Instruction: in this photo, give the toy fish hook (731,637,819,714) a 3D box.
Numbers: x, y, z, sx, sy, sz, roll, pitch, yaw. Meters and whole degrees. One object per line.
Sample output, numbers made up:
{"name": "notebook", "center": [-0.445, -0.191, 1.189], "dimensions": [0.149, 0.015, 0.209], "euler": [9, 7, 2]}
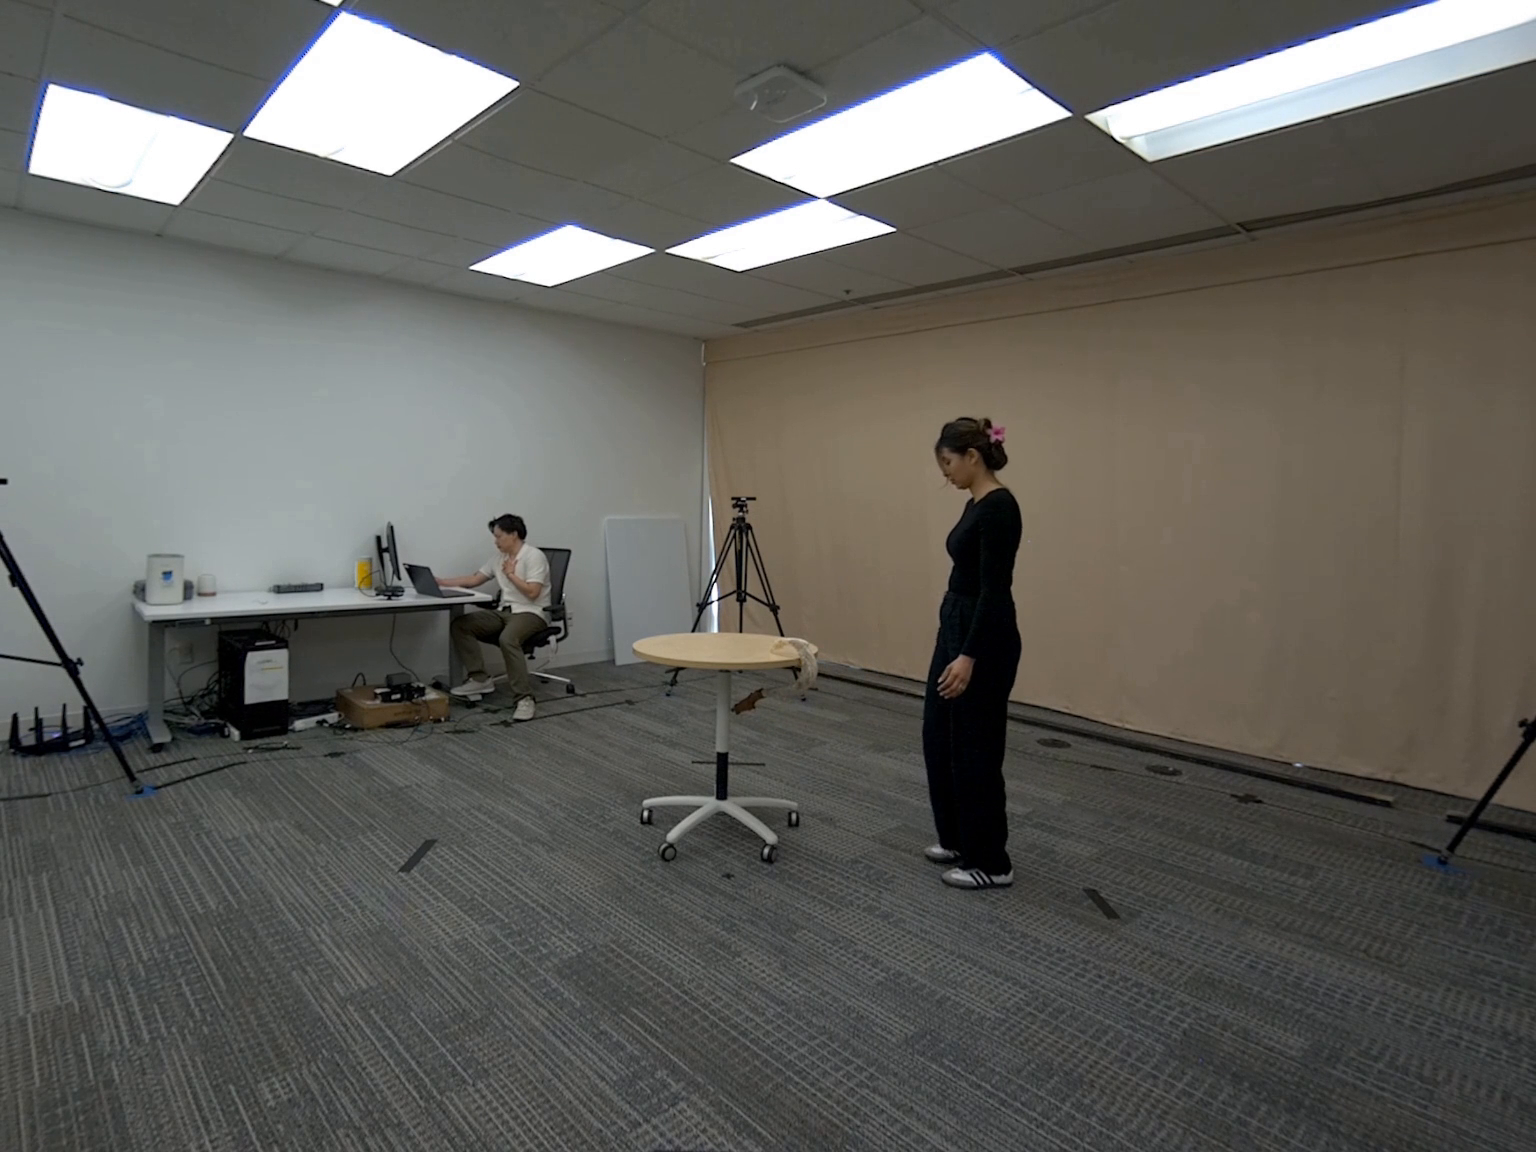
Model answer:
{"name": "toy fish hook", "center": [0.002, 0.404, 3.359], "dimensions": [0.510, 0.228, 0.047], "euler": [-32, -21, 37]}
